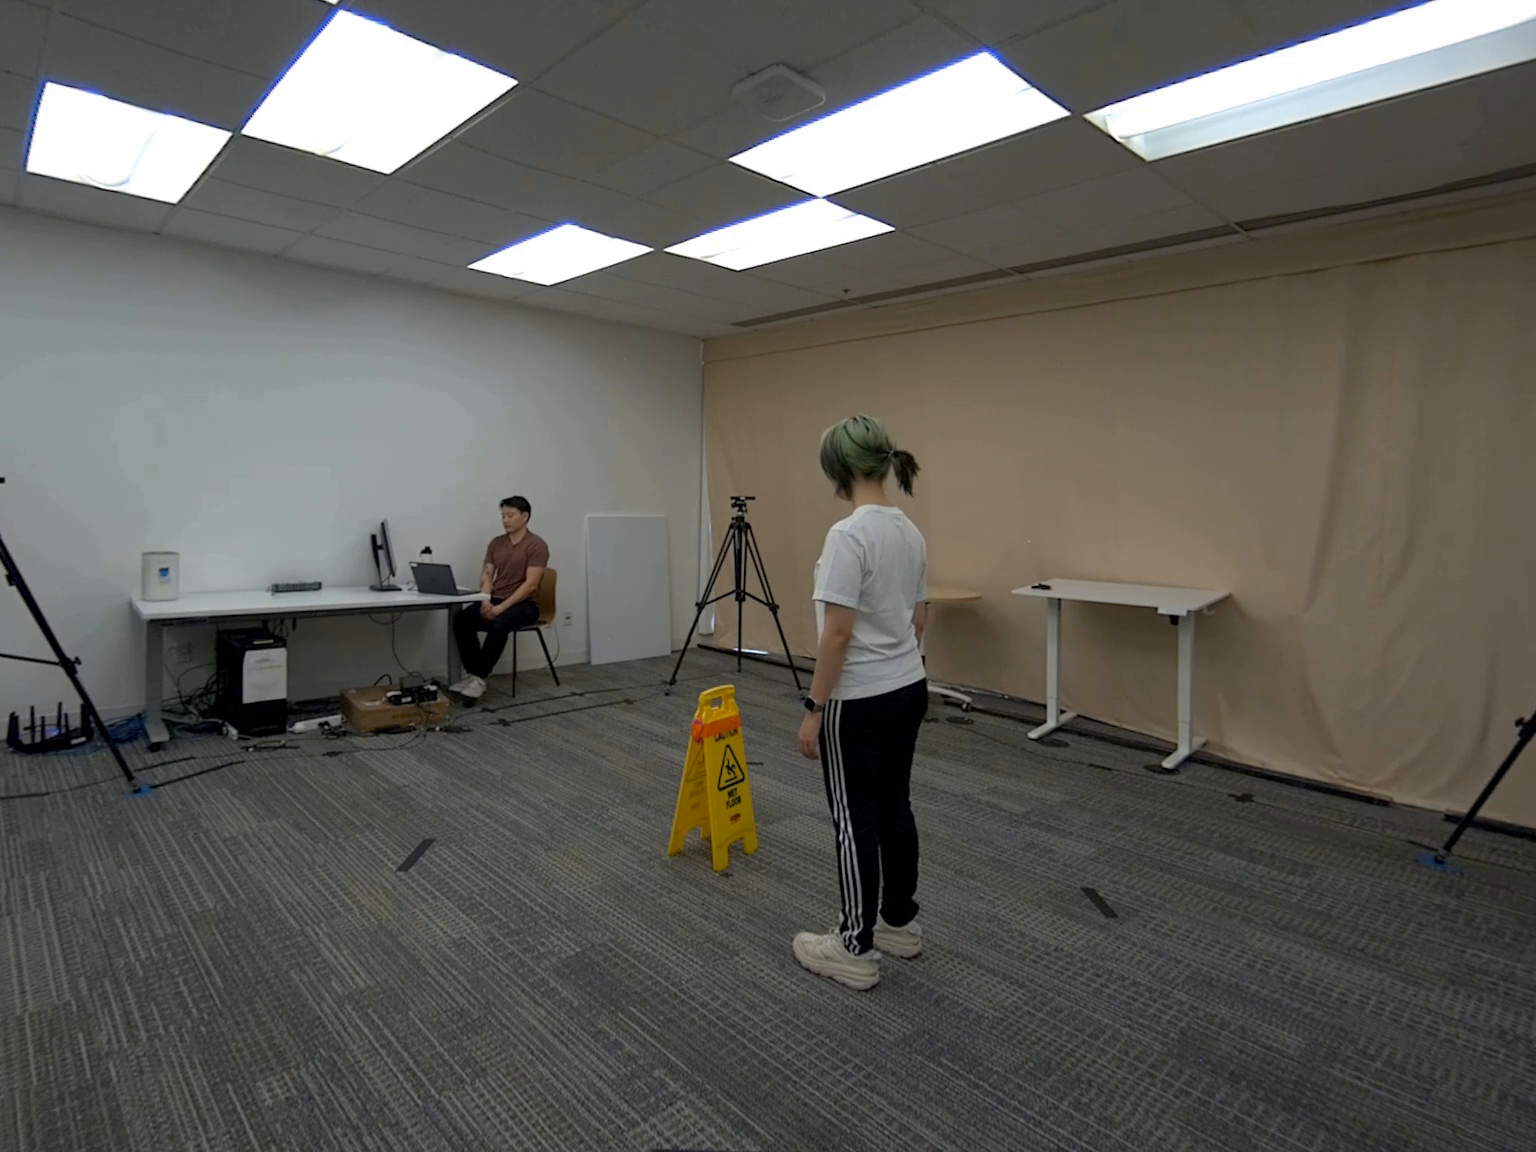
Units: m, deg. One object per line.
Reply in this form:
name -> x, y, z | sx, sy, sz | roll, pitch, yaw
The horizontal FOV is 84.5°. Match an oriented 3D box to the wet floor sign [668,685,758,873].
wet floor sign -> -0.217, 0.760, 3.288 | 0.296, 0.645, 0.276 | 3, 2, 34
